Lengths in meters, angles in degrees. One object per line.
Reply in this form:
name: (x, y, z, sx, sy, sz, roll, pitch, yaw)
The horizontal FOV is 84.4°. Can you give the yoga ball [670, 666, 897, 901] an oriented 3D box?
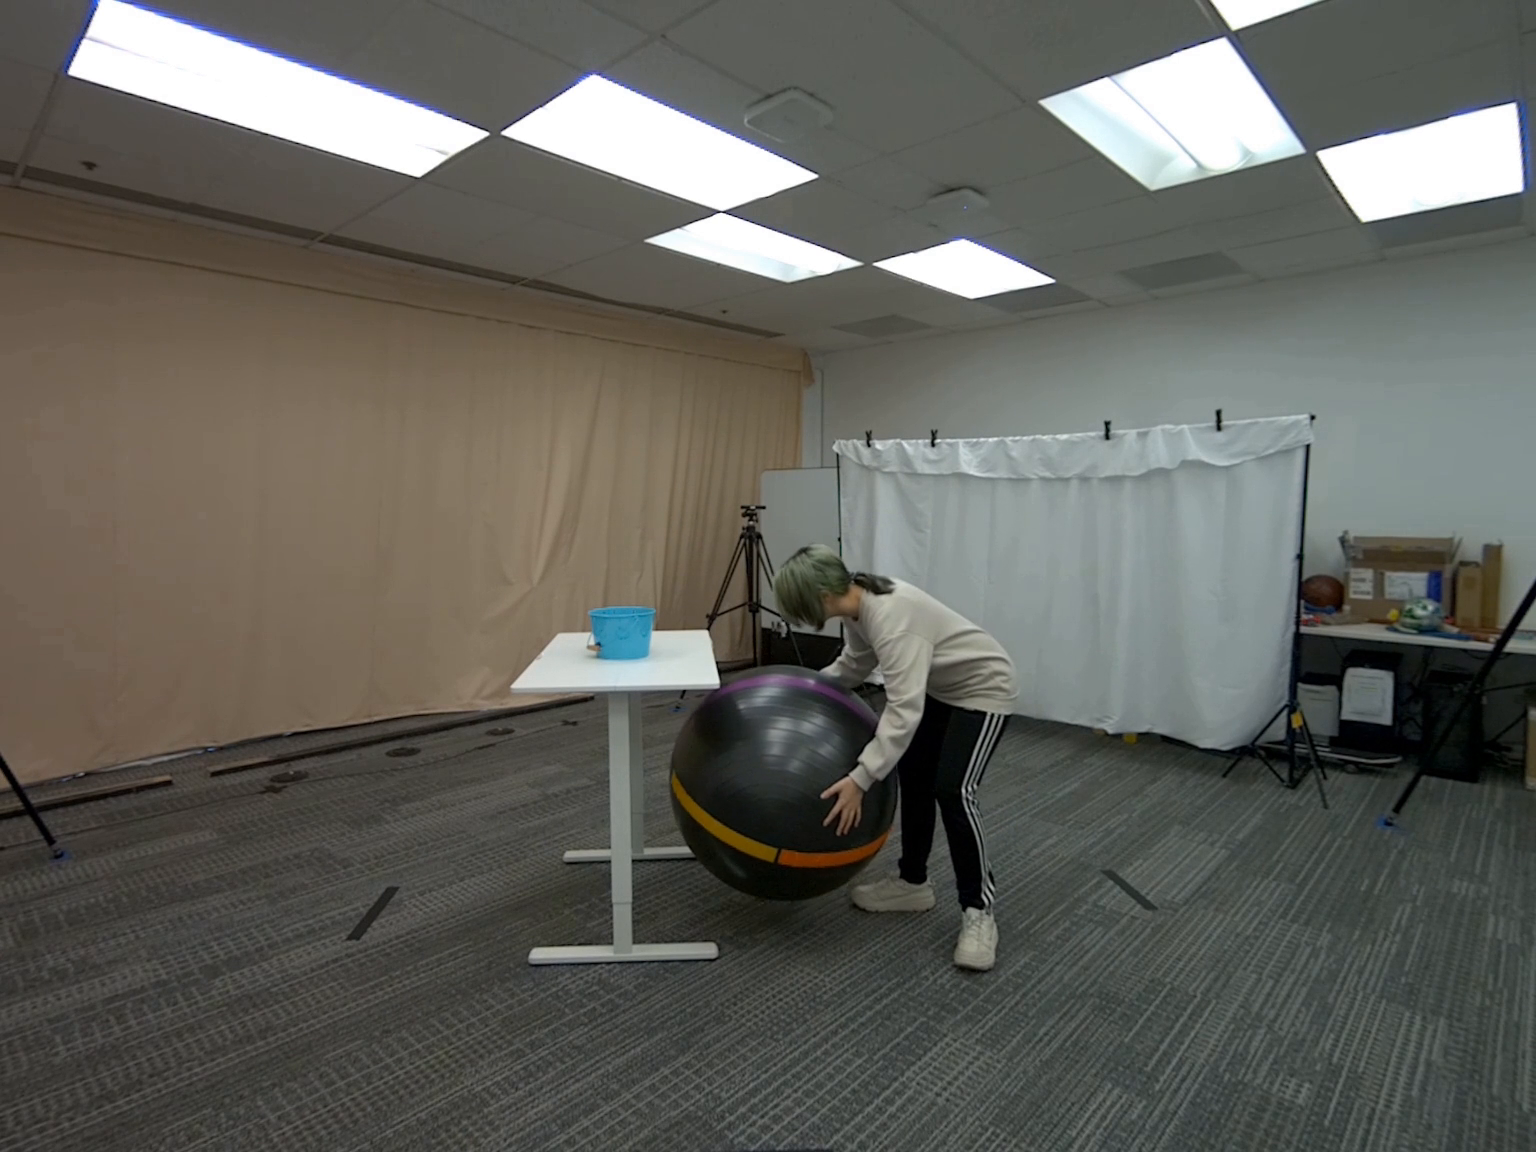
yoga ball: (0.055, 0.687, 2.810, 0.757, 0.756, 0.760, 0, 4, -2)
